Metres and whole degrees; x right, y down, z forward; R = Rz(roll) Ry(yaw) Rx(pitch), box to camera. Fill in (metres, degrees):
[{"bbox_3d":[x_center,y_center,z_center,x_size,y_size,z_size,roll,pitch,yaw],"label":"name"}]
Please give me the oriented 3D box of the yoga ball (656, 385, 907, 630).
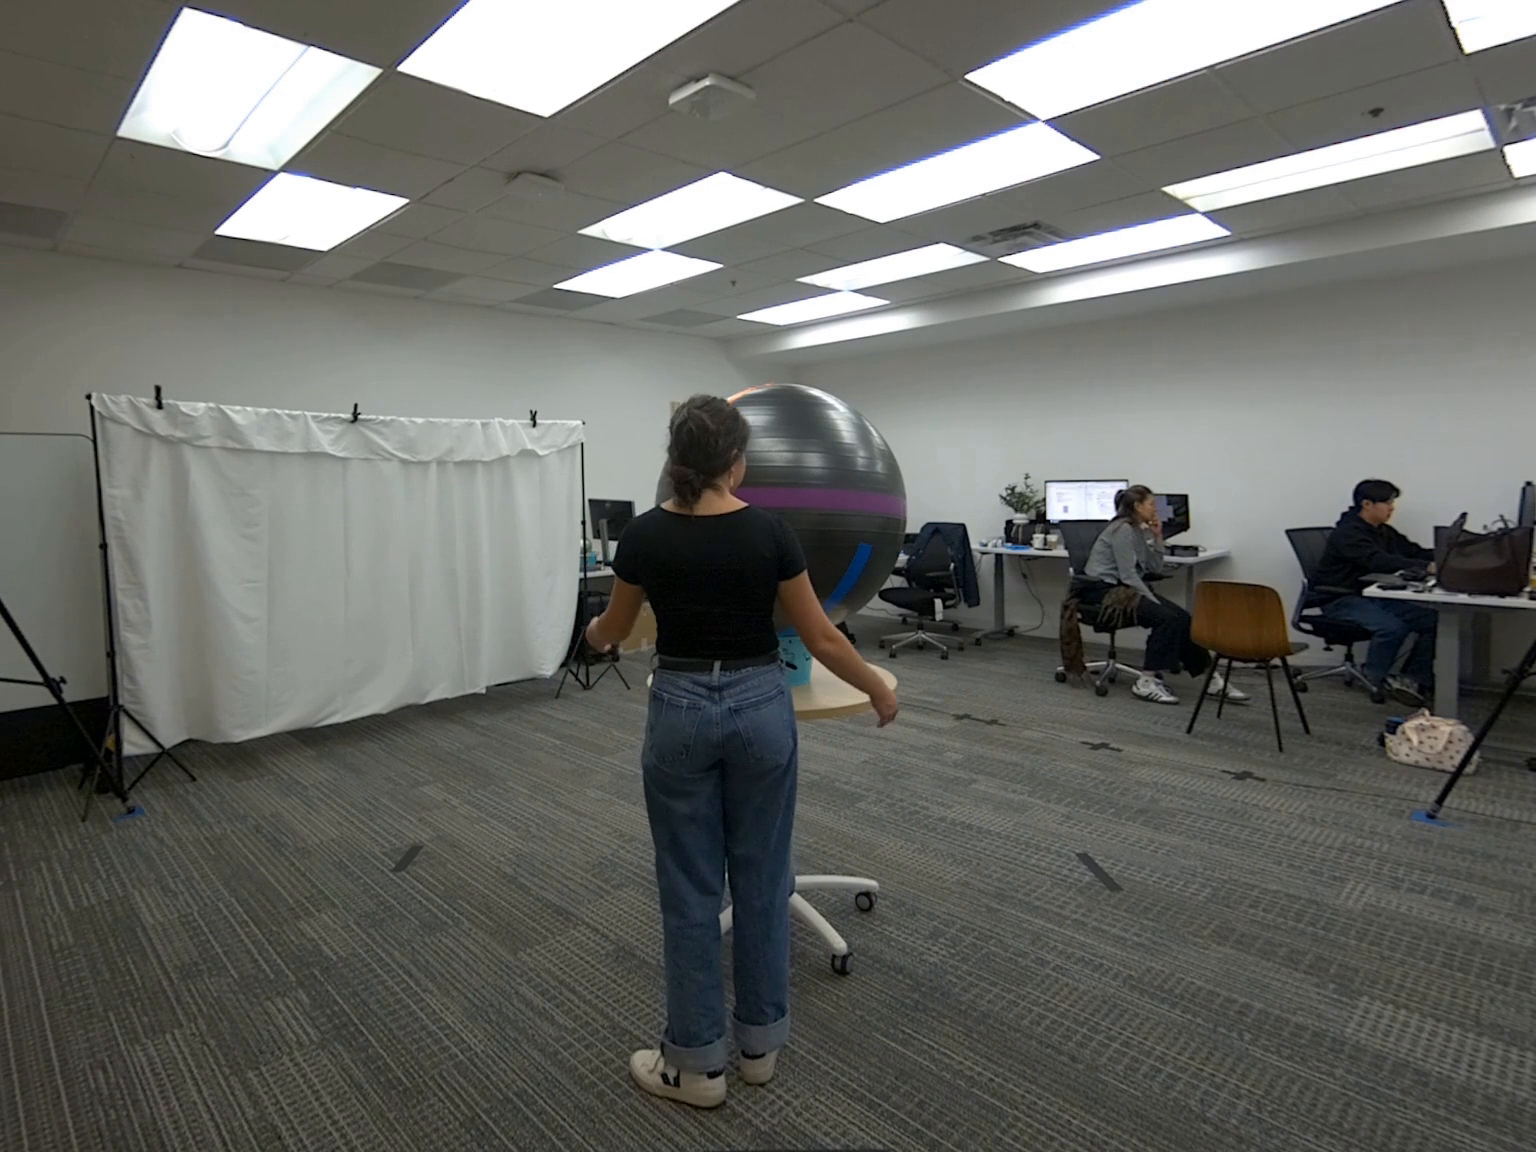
[{"bbox_3d":[0.035,-0.190,2.581,0.757,0.755,0.762,-1,5,-2],"label":"yoga ball"}]
